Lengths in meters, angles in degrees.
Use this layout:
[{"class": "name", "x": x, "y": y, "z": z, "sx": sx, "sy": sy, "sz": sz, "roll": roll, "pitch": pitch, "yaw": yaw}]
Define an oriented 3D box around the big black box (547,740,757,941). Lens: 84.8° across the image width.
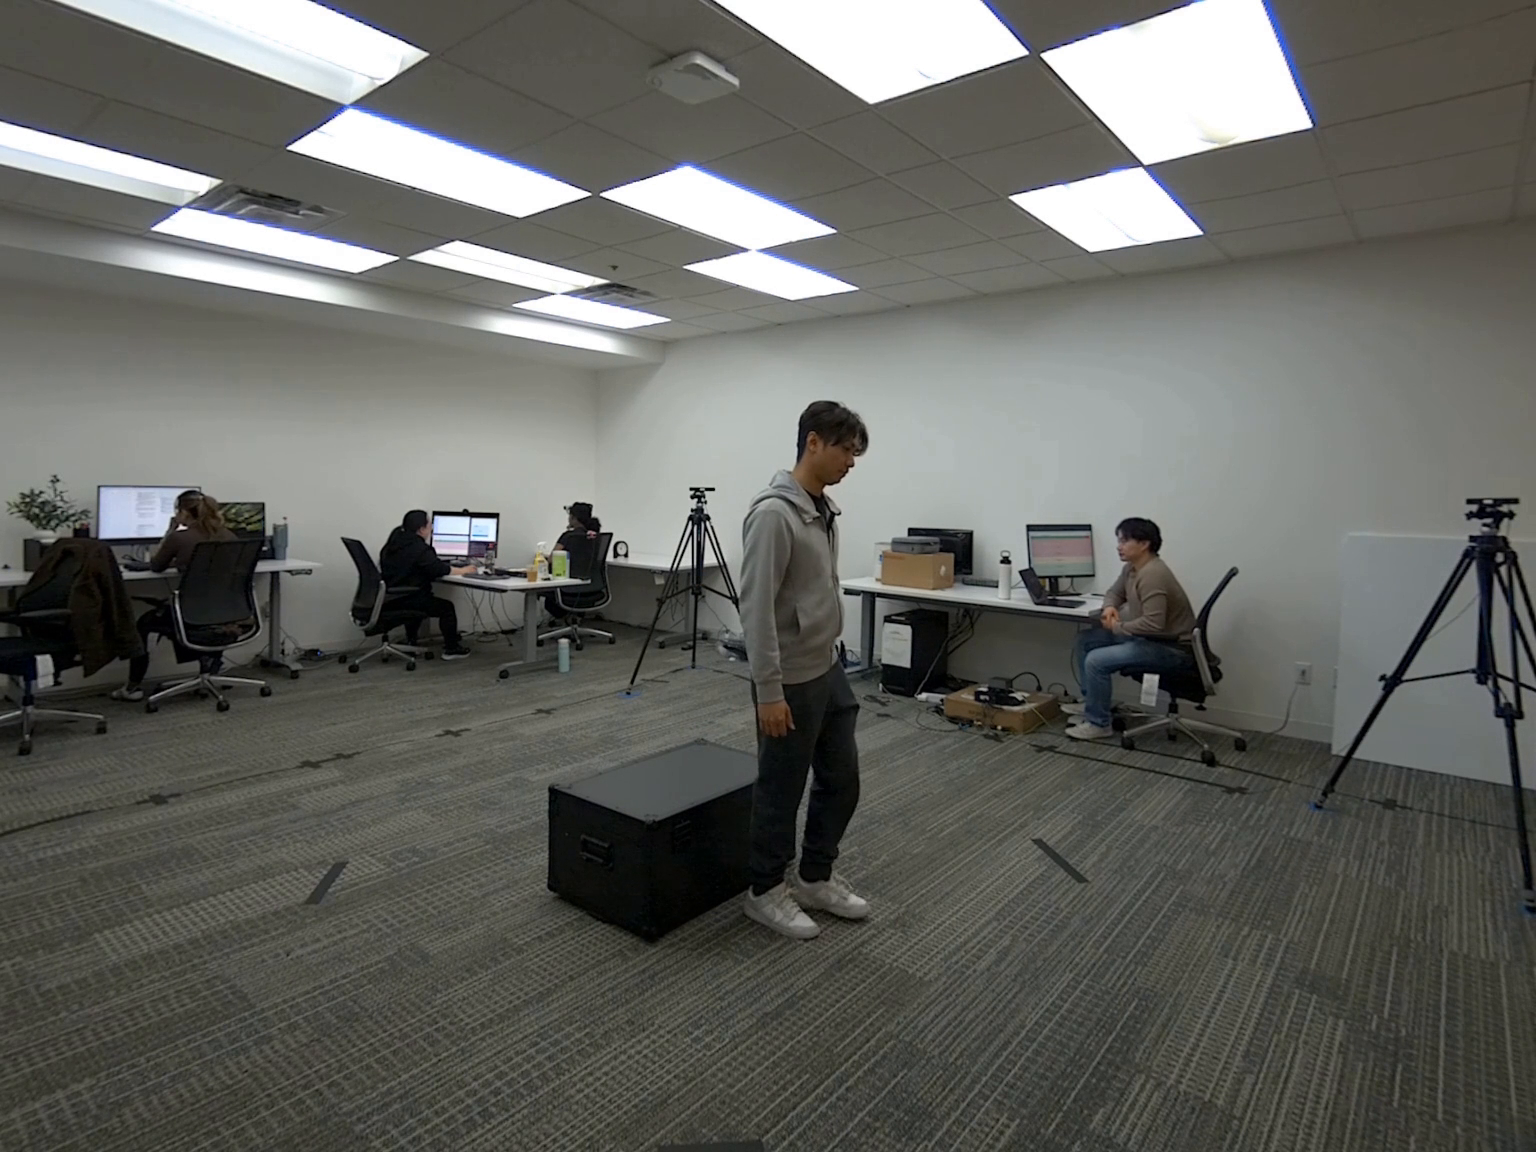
[{"class": "big black box", "x": -0.309, "y": 0.883, "z": 3.031, "sx": 0.538, "sy": 0.395, "sz": 0.837, "roll": 5, "pitch": 7, "yaw": 37}]
